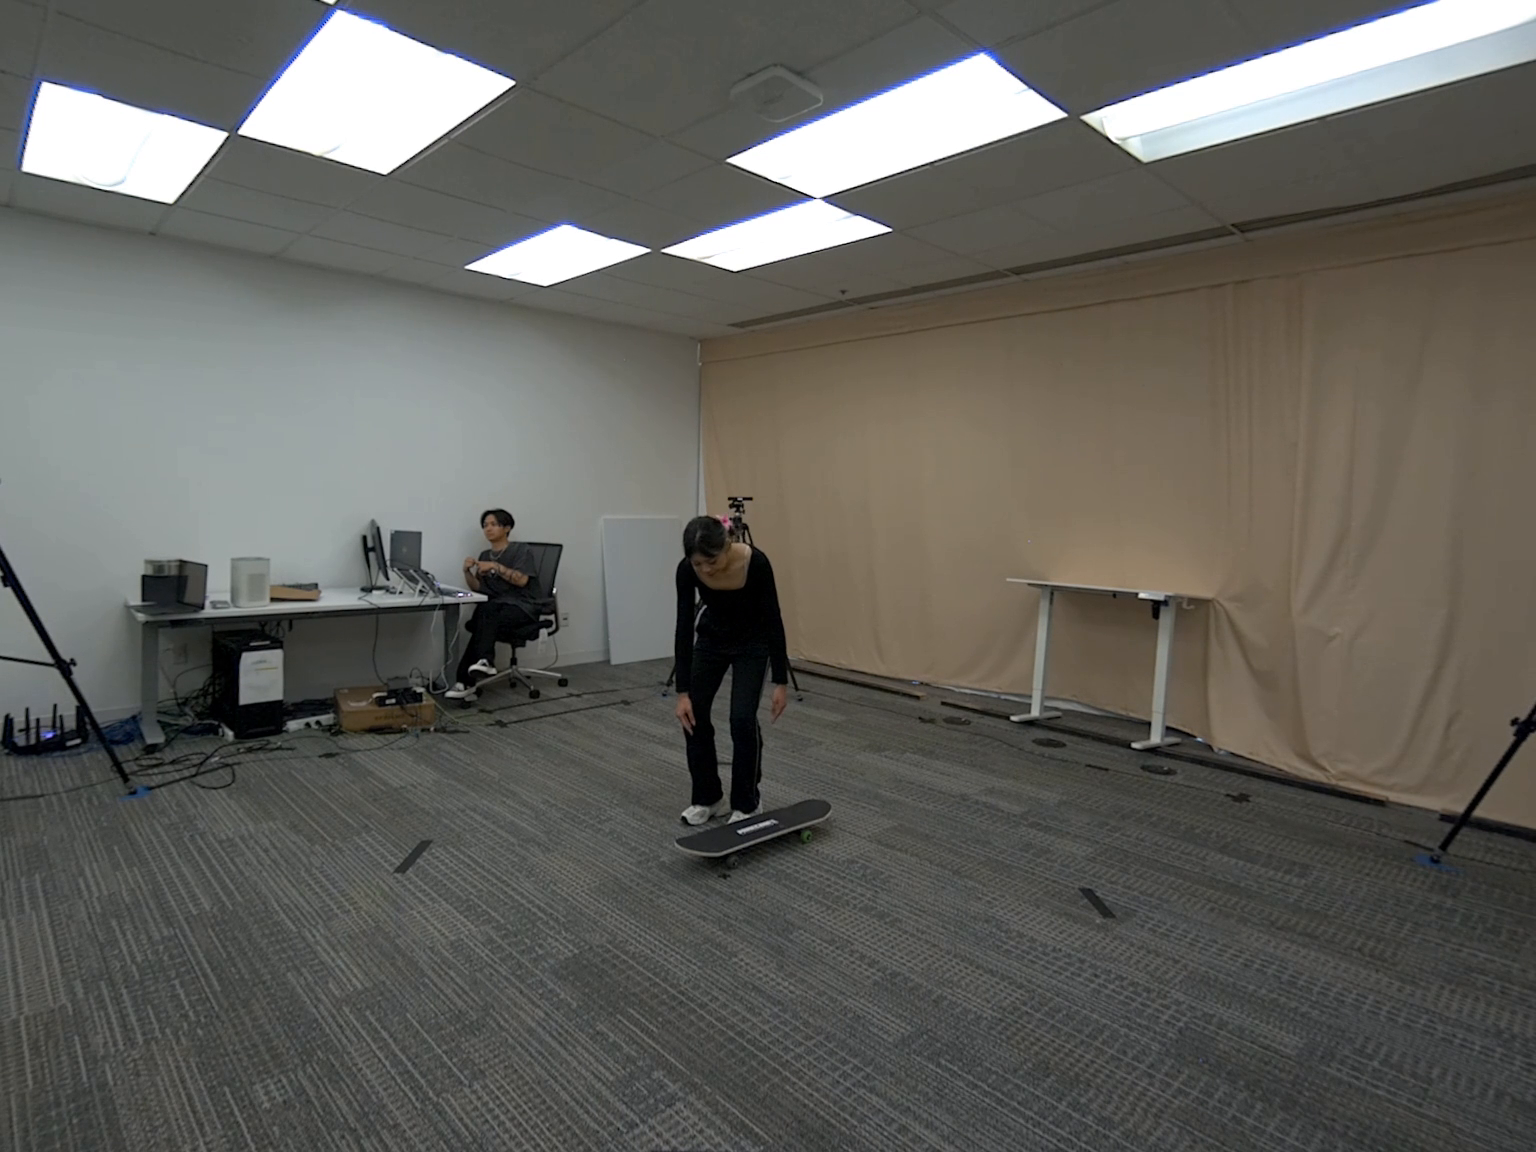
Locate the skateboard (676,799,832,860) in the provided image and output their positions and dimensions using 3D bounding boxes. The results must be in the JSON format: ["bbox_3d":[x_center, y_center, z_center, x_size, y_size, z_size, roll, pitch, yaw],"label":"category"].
[{"bbox_3d":[-0.045,1.033,3.354,0.768,0.110,0.198,-4,8,-43],"label":"skateboard"}]
